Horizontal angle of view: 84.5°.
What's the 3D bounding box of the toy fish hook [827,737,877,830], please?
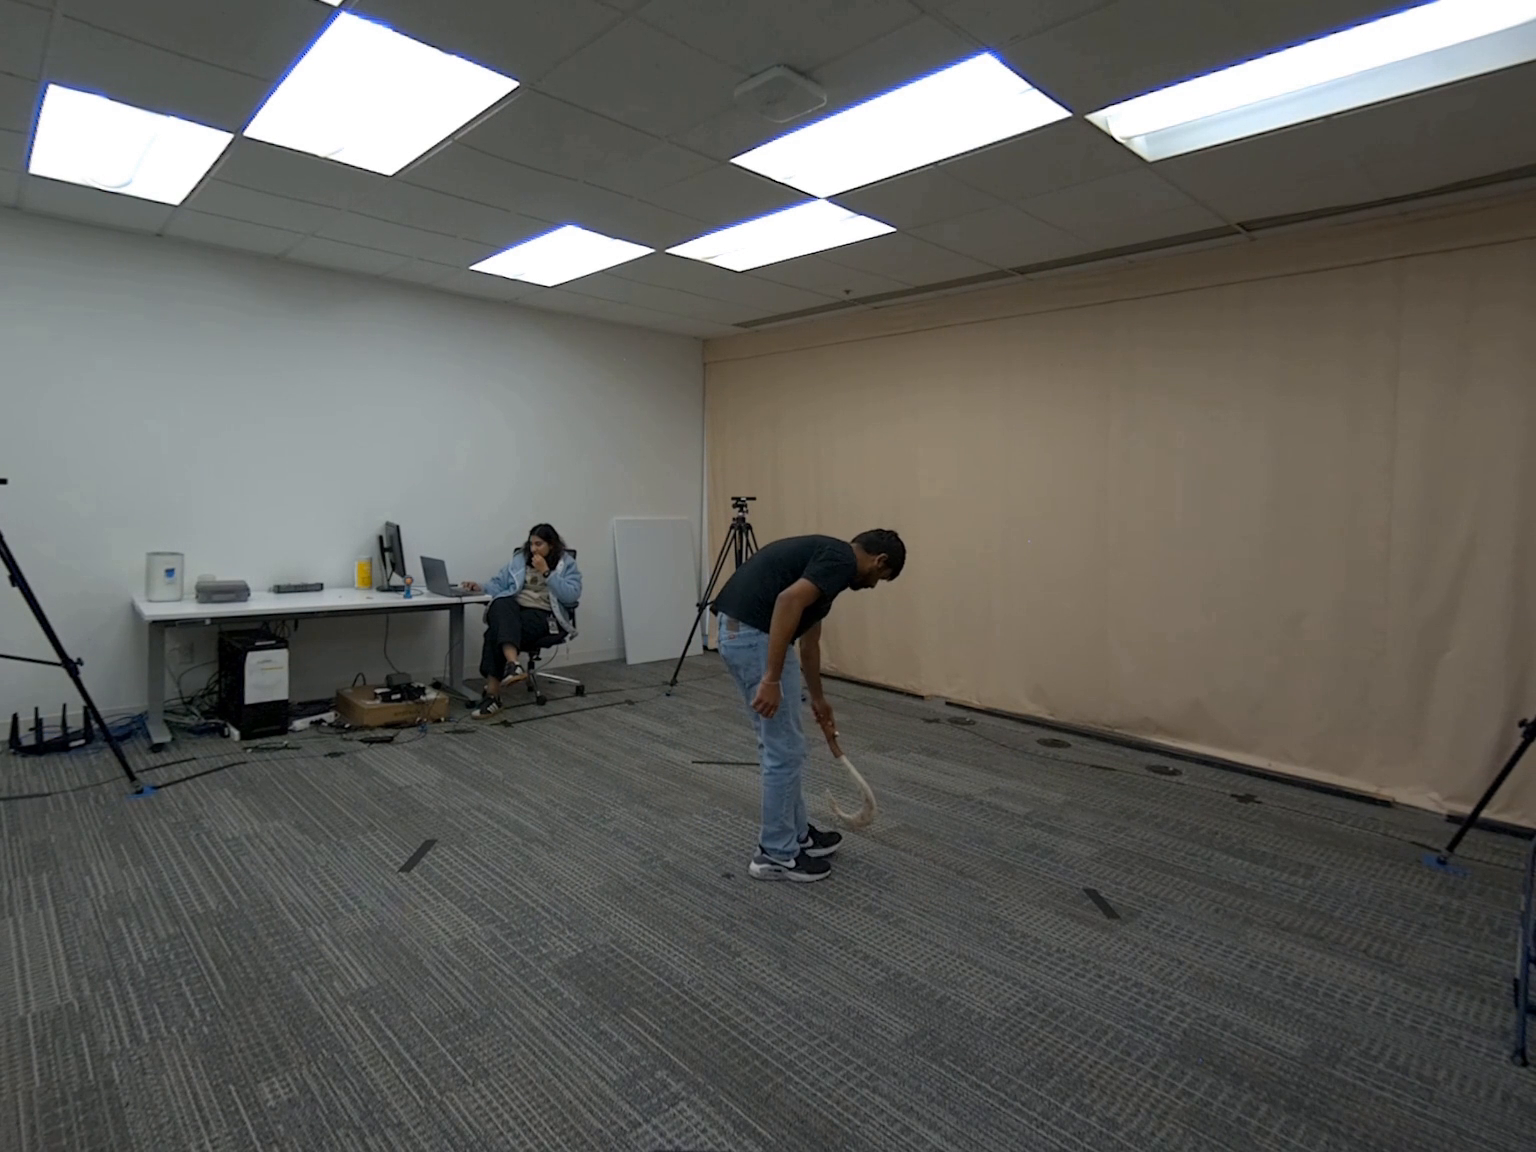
[{"bbox_3d":[0.284,0.836,3.595,0.226,0.512,0.047,-30,-12,29],"label":"toy fish hook"}]
